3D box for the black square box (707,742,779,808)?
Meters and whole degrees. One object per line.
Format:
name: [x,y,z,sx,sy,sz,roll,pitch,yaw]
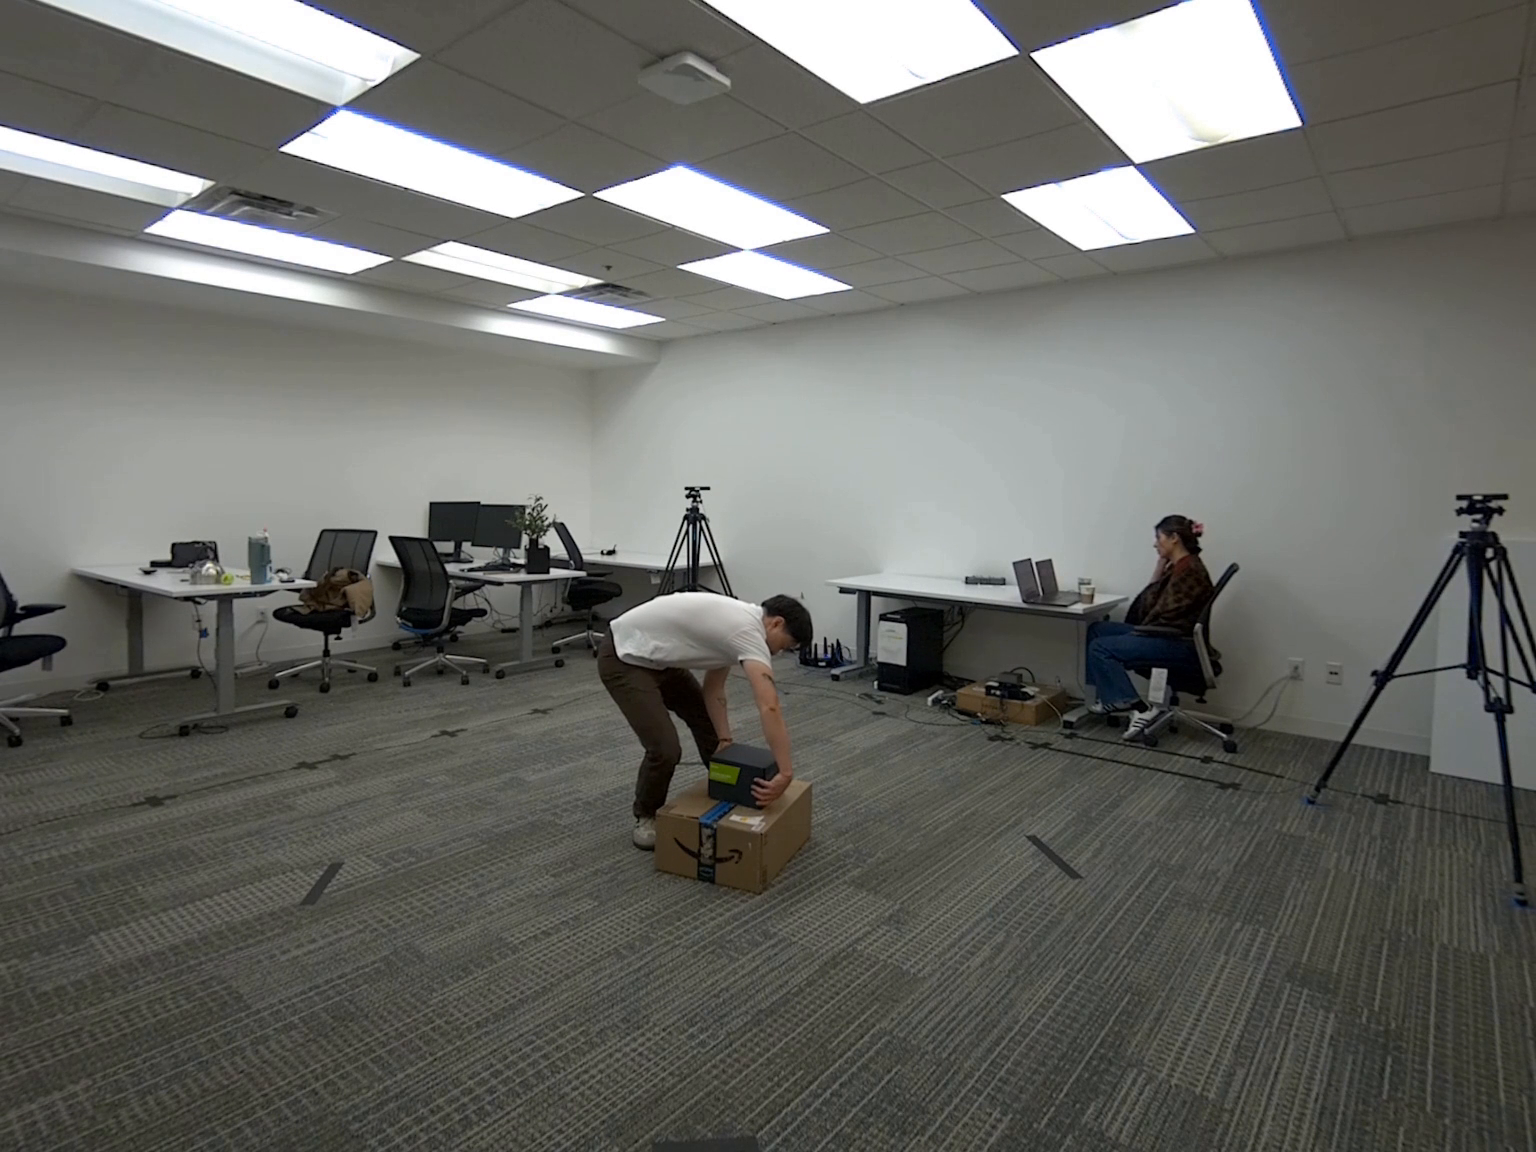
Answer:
black square box: [-0.088,0.754,3.242,0.234,0.155,0.212,5,6,24]
